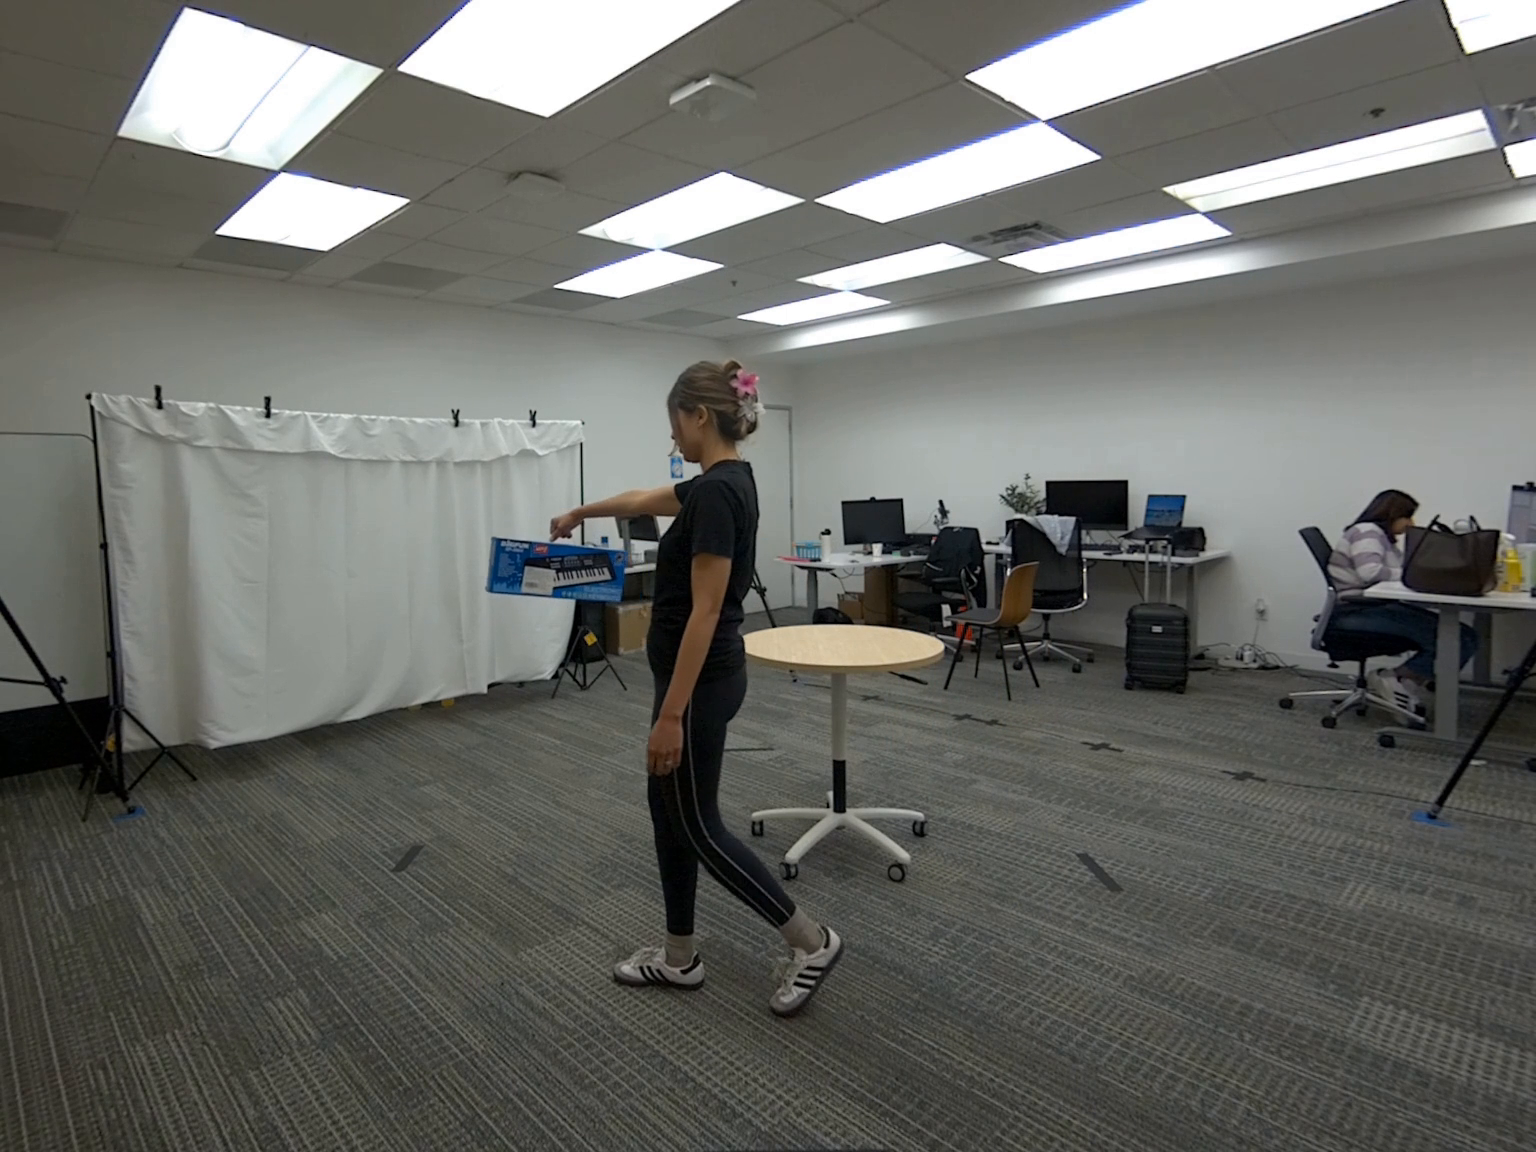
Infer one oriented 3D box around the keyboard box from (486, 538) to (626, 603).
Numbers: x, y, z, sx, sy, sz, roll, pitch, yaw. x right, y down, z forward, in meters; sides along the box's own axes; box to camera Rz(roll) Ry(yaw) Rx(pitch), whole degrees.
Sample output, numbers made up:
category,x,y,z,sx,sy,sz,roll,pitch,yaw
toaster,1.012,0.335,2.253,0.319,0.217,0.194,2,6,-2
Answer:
category,x,y,z,sx,sy,sz,roll,pitch,yaw
keyboard box,-0.664,-0.015,2.734,0.424,0.176,0.061,6,0,-33
